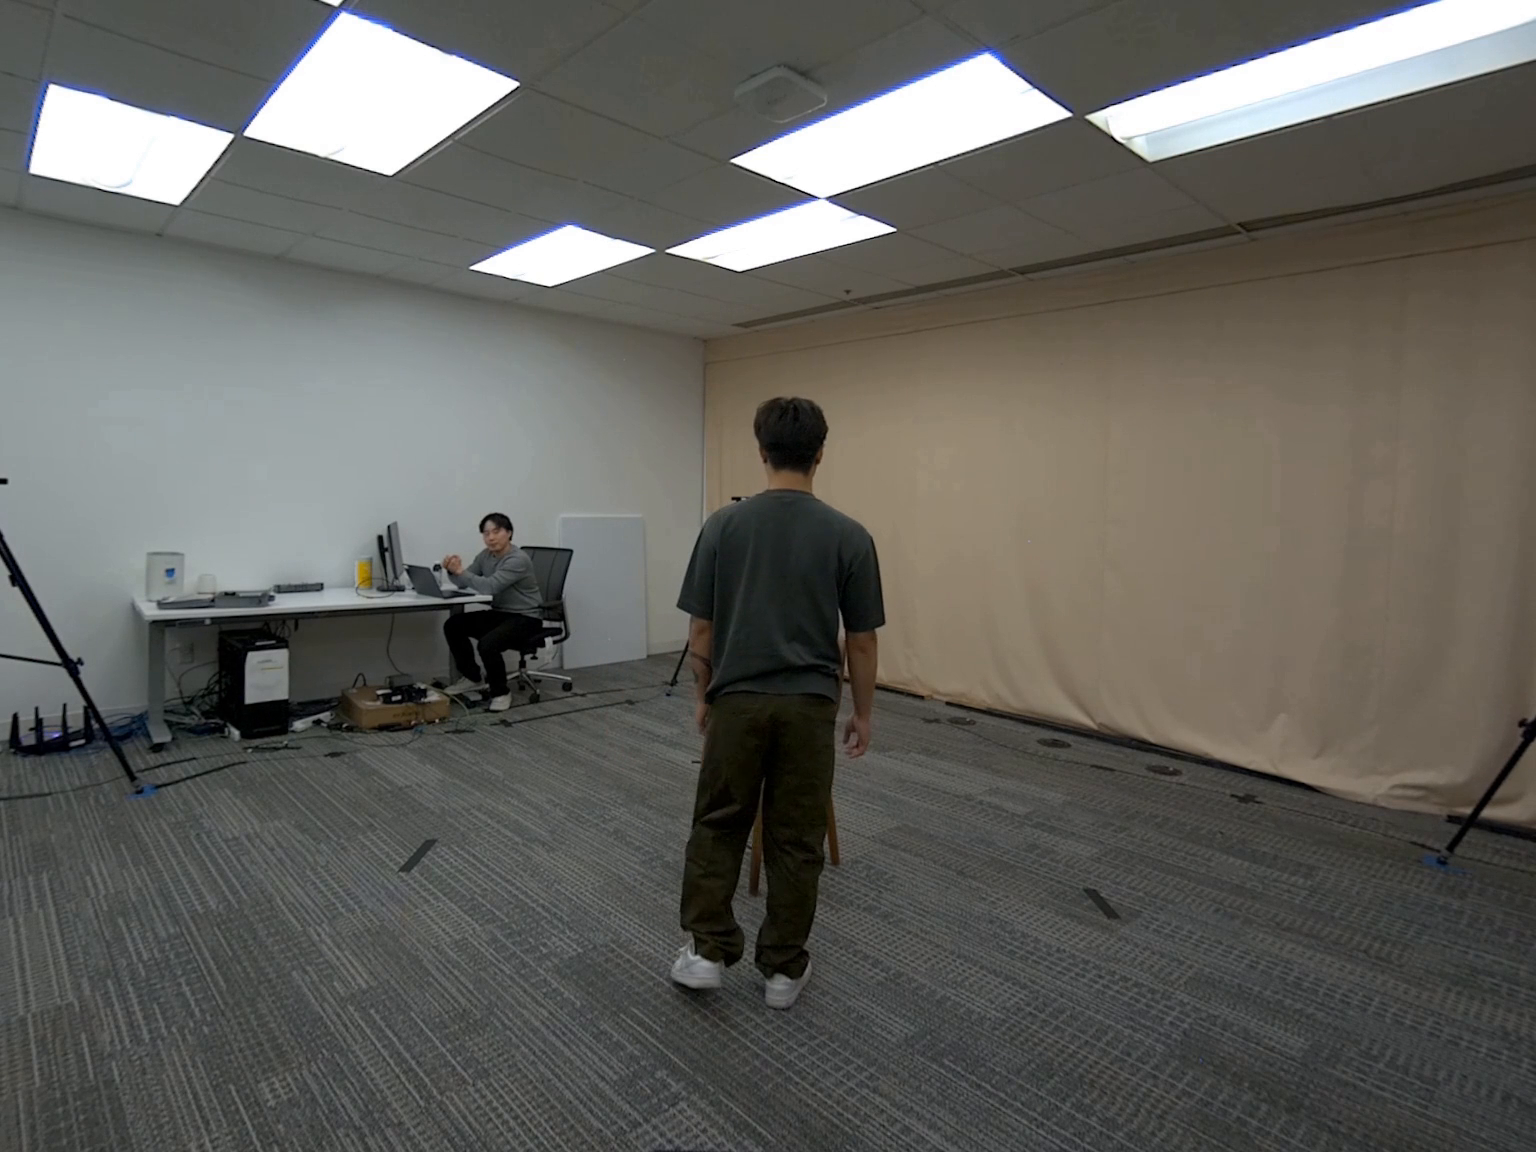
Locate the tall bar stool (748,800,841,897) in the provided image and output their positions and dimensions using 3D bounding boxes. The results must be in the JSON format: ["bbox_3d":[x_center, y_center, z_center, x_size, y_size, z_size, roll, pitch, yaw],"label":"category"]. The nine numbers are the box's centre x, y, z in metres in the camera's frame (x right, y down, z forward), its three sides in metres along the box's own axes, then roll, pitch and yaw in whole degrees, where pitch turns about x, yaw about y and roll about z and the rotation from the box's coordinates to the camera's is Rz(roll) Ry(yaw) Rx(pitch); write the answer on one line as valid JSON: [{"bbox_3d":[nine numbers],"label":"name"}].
[{"bbox_3d":[-0.001,0.668,3.220,0.456,0.888,0.468,1,3,-39],"label":"tall bar stool"}]
